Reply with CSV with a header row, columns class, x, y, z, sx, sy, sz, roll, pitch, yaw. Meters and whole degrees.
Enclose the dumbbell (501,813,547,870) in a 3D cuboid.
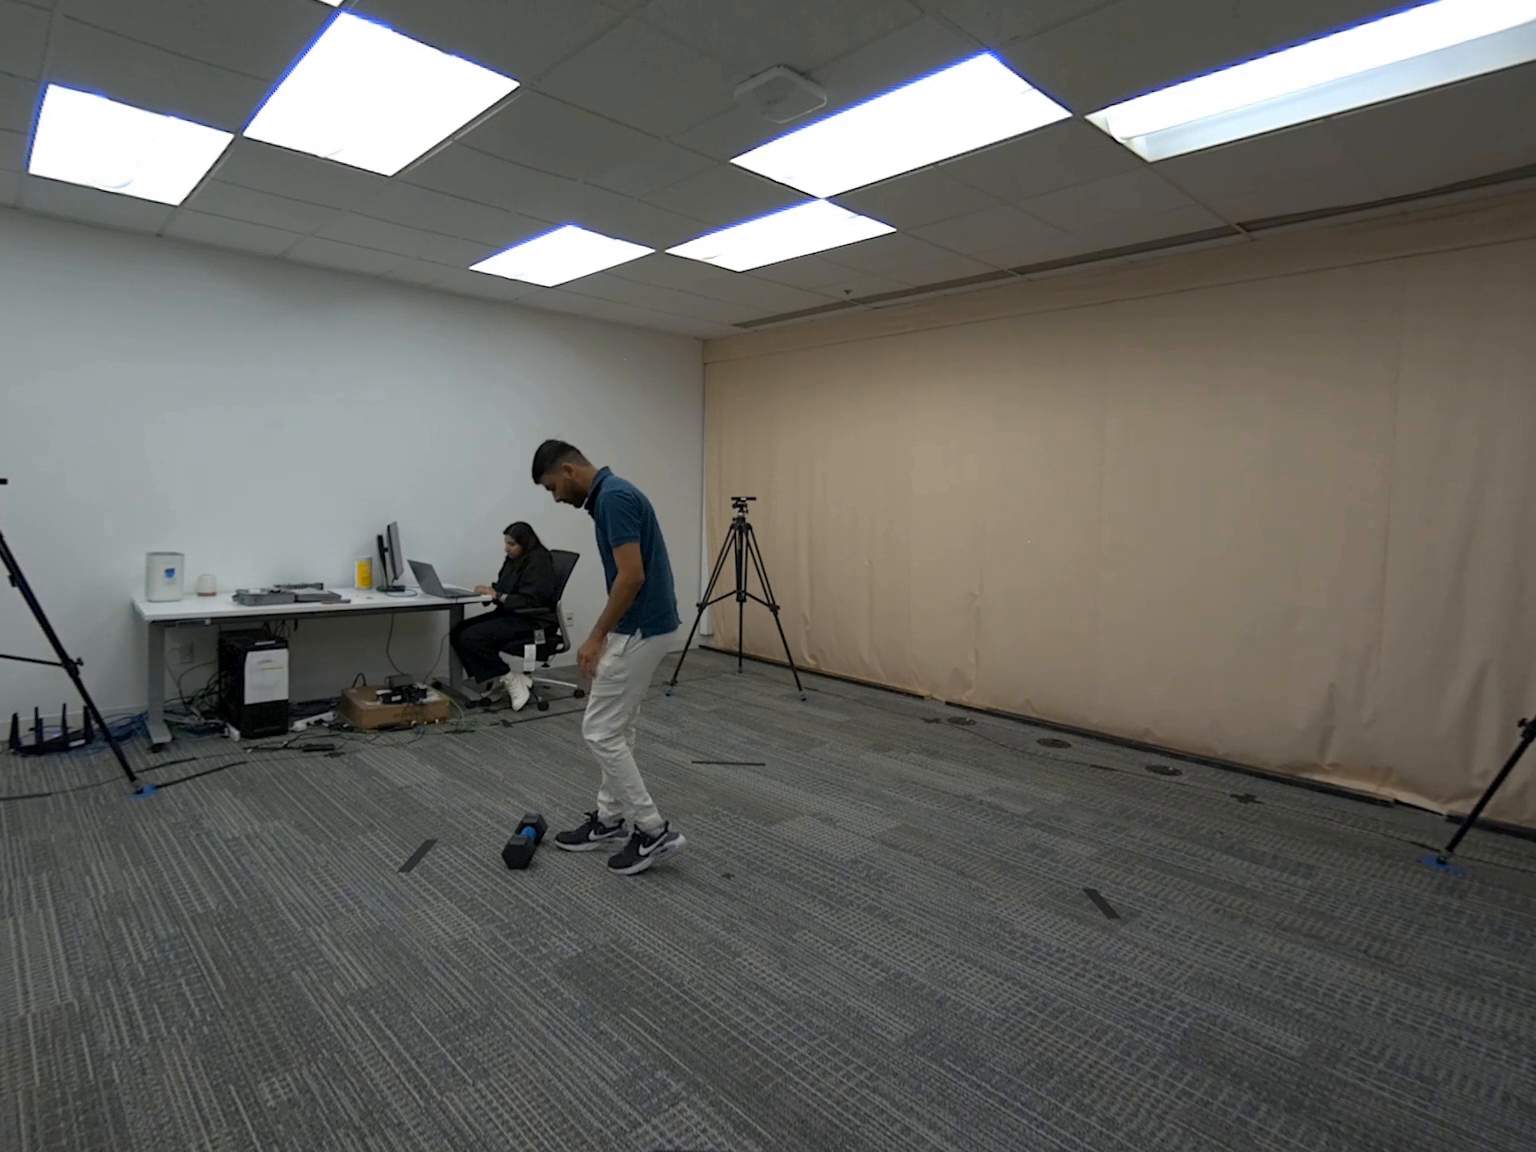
class,x,y,z,sx,sy,sz,roll,pitch,yaw
dumbbell,-0.940,1.018,3.255,0.108,0.123,0.295,31,3,-5
